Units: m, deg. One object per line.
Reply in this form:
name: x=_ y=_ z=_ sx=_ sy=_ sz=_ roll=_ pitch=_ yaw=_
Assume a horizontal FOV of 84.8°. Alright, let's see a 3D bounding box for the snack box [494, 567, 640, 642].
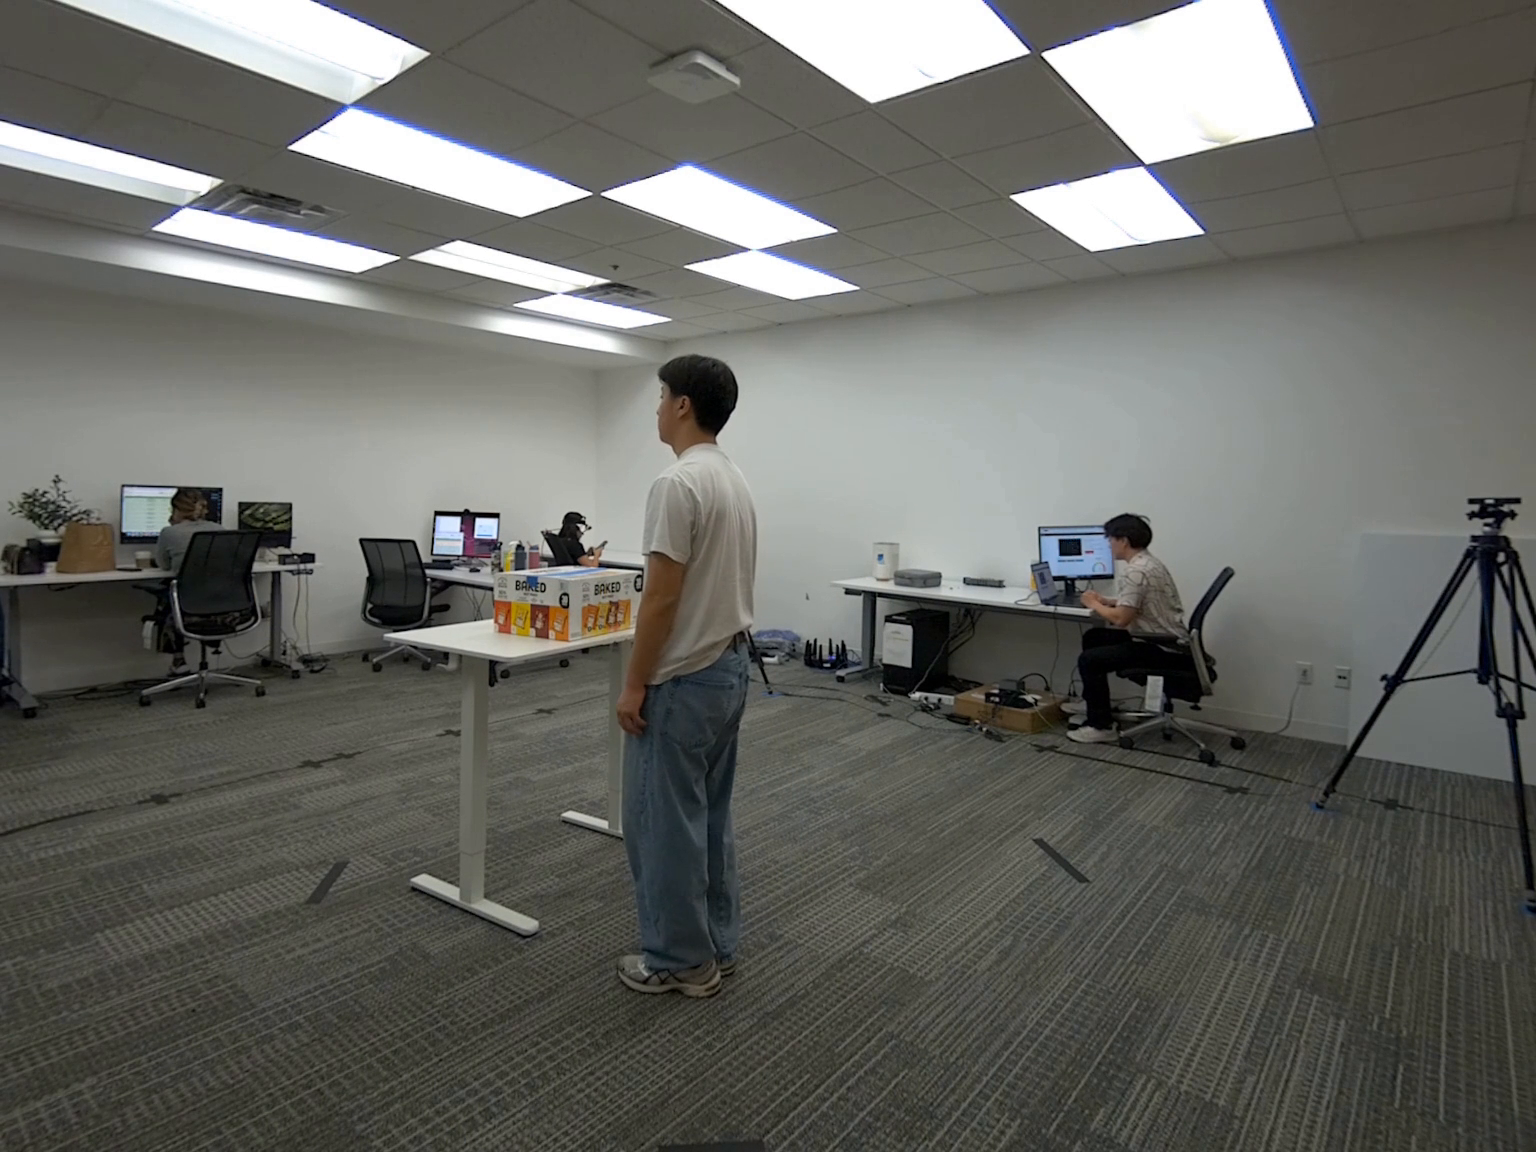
snack box: x=-0.712 y=0.086 z=3.000 sx=0.350 sy=0.205 sz=0.395 roll=4 pitch=6 yaw=28
